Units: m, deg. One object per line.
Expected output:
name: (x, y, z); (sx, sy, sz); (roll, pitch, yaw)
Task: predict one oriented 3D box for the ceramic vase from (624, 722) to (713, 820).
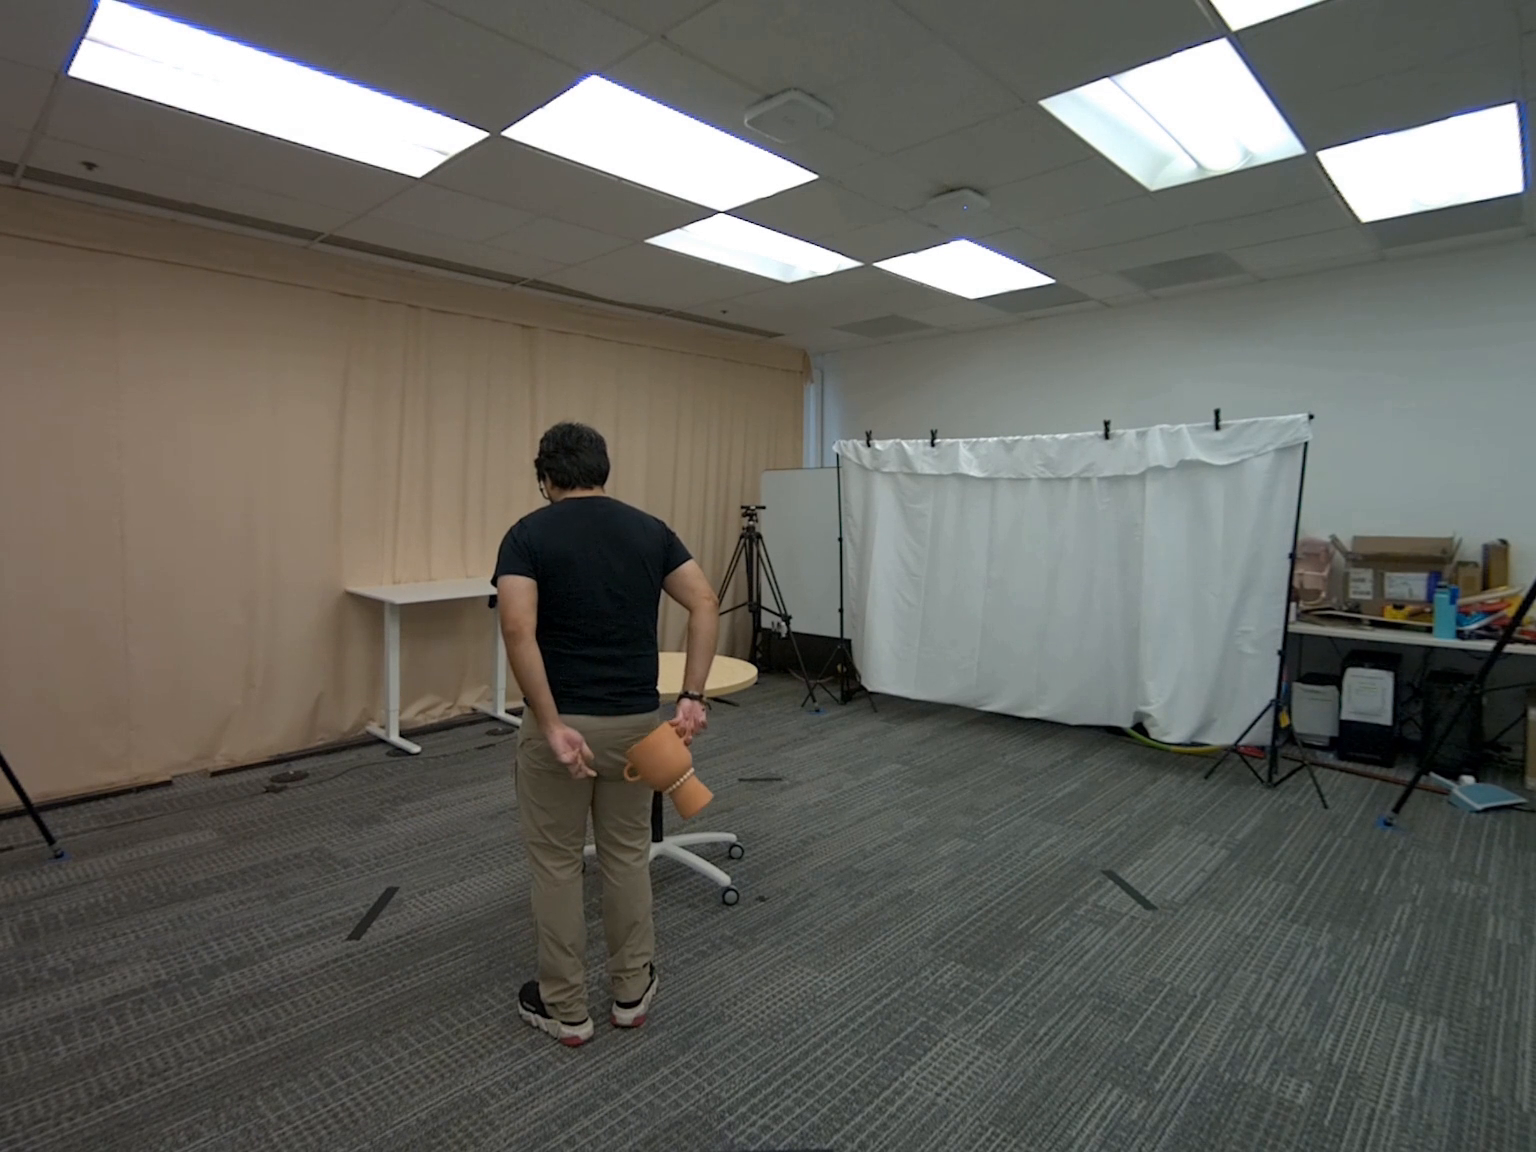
ceramic vase: (-0.240, 0.485, 2.094); (0.160, 0.221, 0.132); (-38, -7, 24)
